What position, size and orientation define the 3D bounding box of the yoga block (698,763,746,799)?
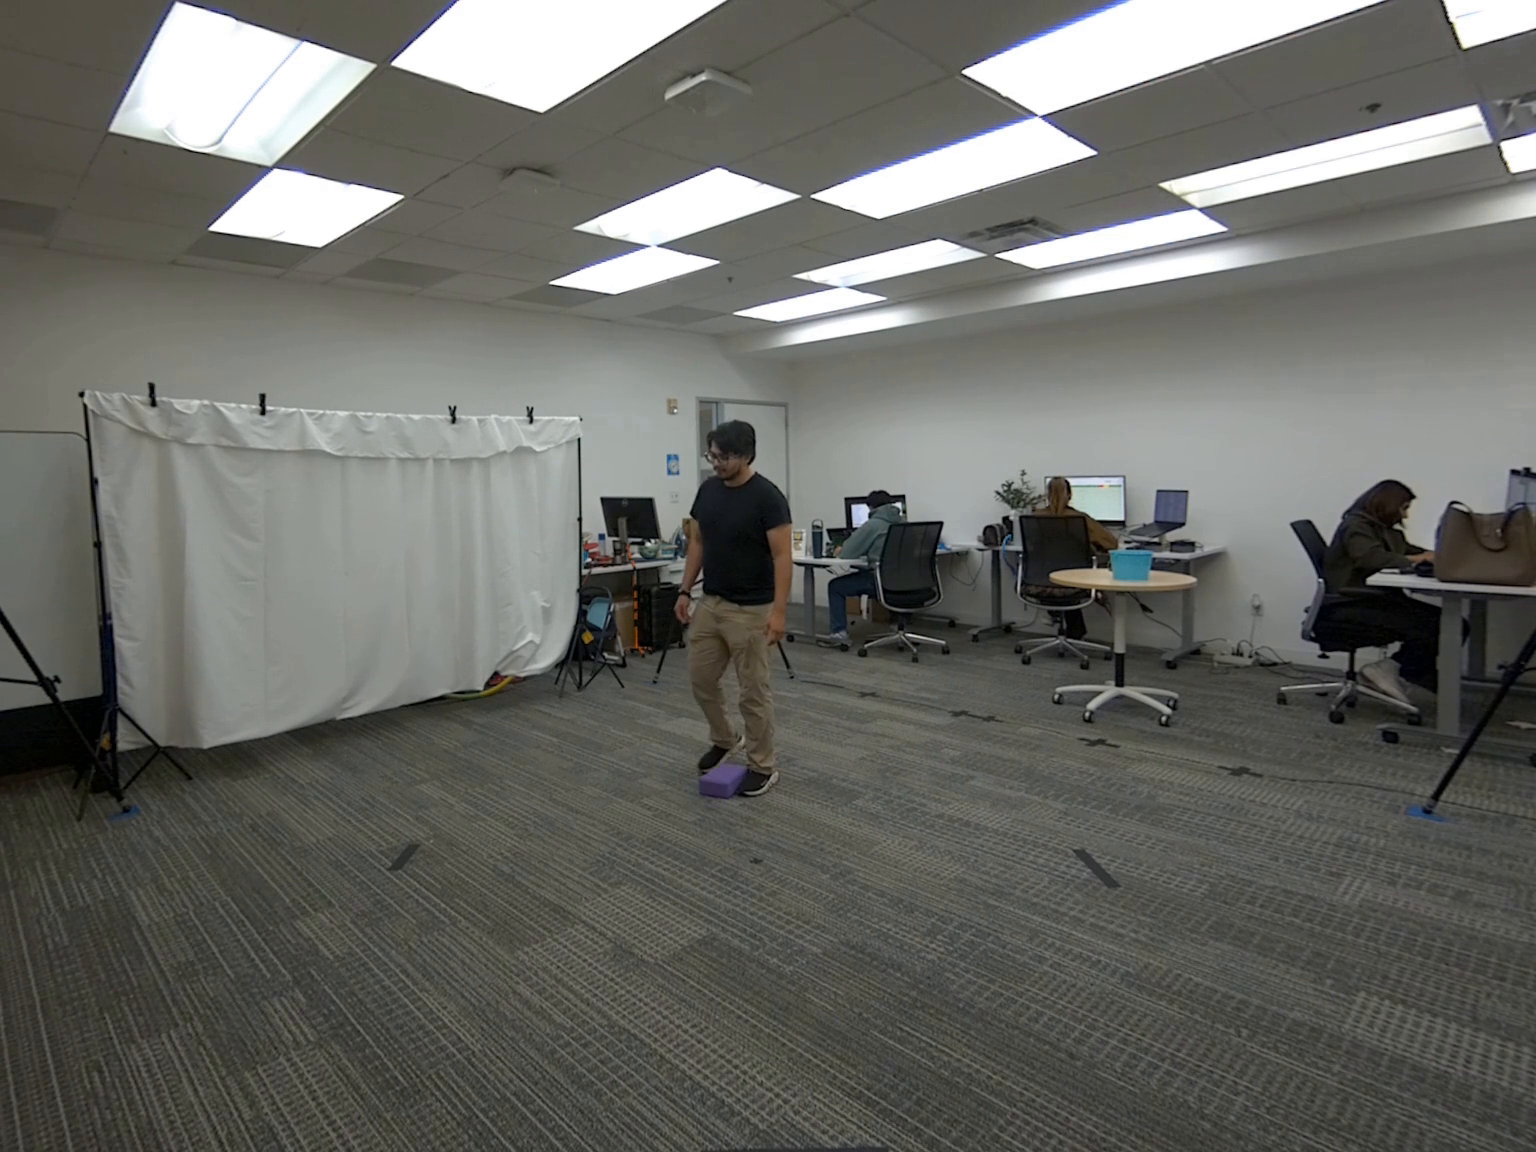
[{"bbox_3d":[-0.196,0.916,3.839,0.152,0.076,0.225,2,8,25],"label":"yoga block"}]
